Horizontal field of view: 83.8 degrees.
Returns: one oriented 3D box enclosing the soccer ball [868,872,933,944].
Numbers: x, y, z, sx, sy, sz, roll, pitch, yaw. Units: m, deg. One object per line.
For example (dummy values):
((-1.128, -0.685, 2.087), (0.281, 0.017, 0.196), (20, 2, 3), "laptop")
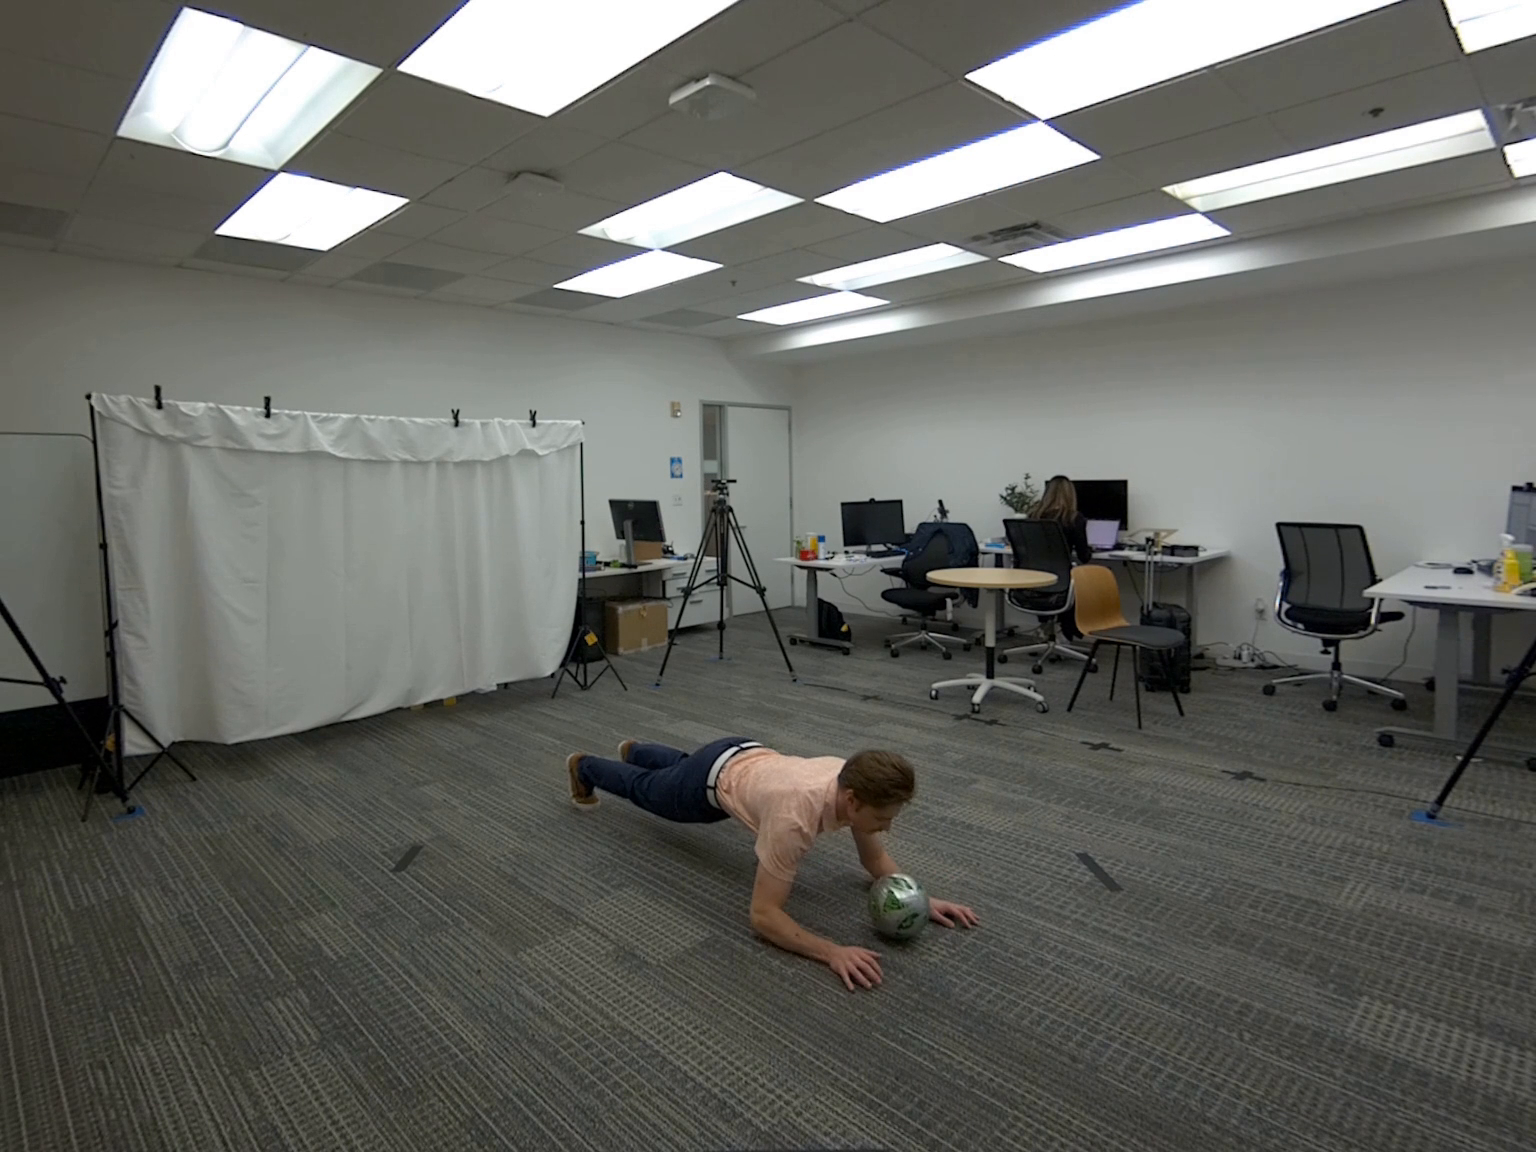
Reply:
((0.399, 1.008, 2.594), (0.187, 0.187, 0.188), (-1, 5, -2), "soccer ball")
